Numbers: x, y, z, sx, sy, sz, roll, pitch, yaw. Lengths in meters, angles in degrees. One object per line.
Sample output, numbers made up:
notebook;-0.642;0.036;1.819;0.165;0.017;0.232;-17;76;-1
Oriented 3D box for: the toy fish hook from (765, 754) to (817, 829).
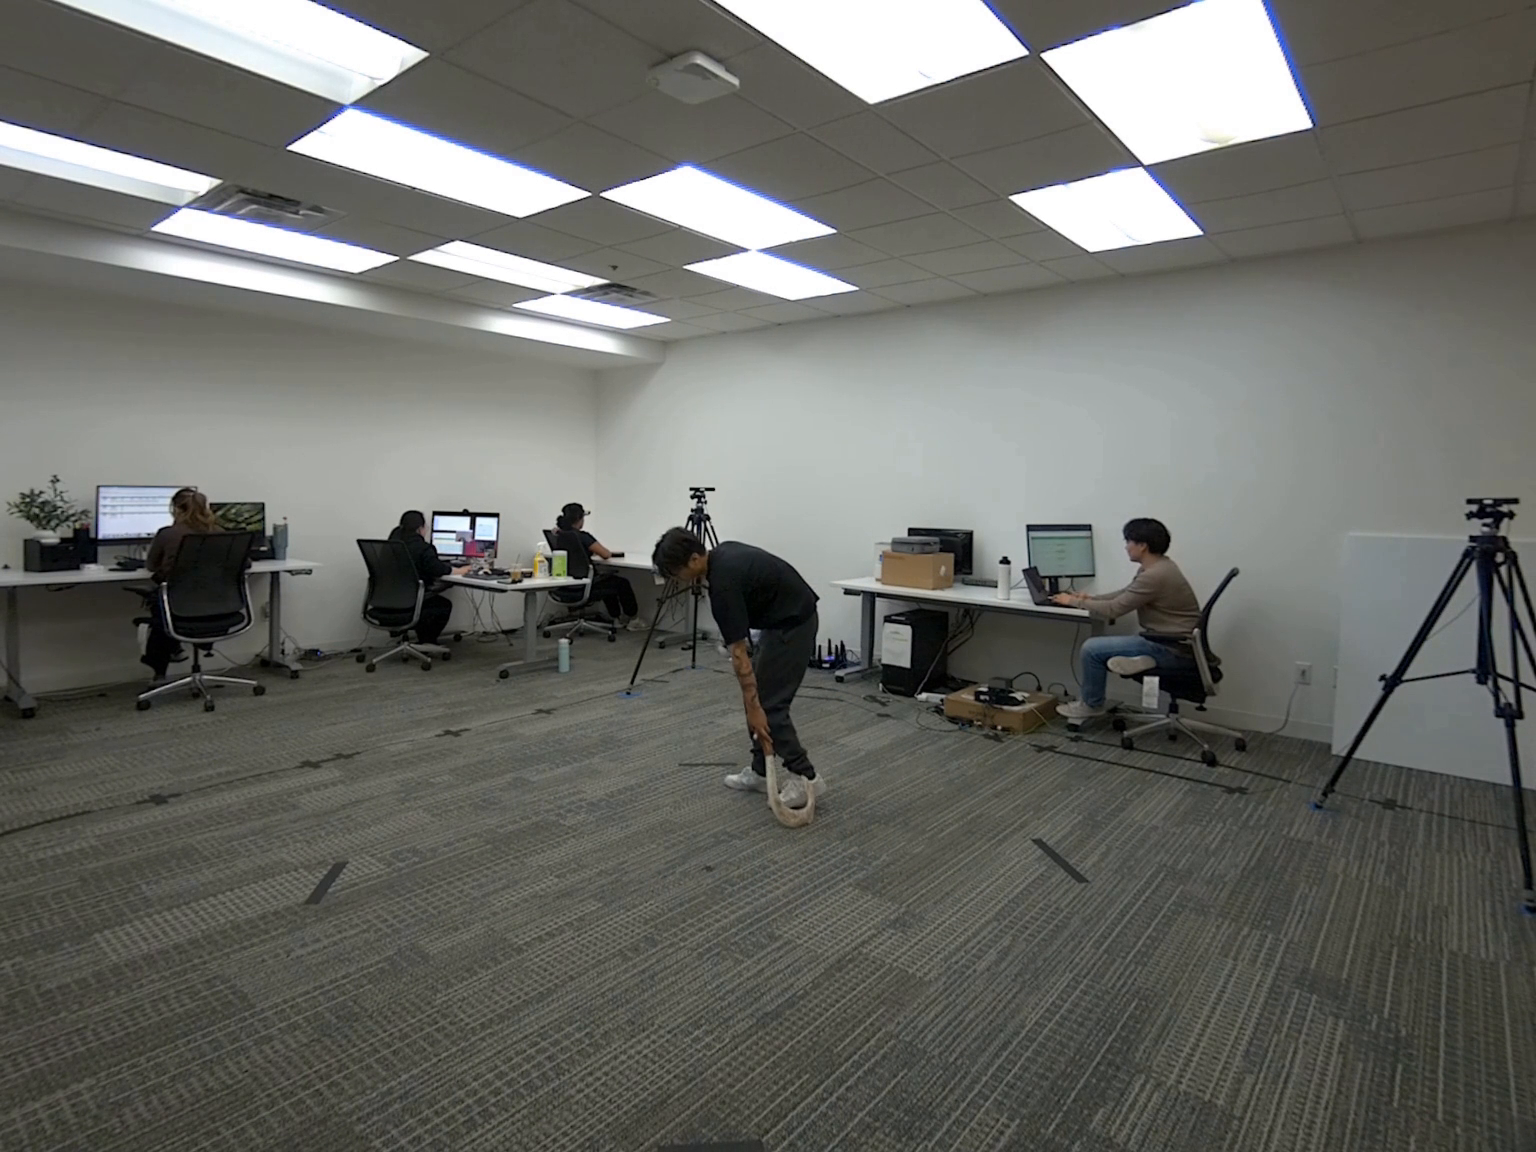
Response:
toy fish hook;0.057;0.813;3.631;0.218;0.520;0.048;-1;-29;-37
